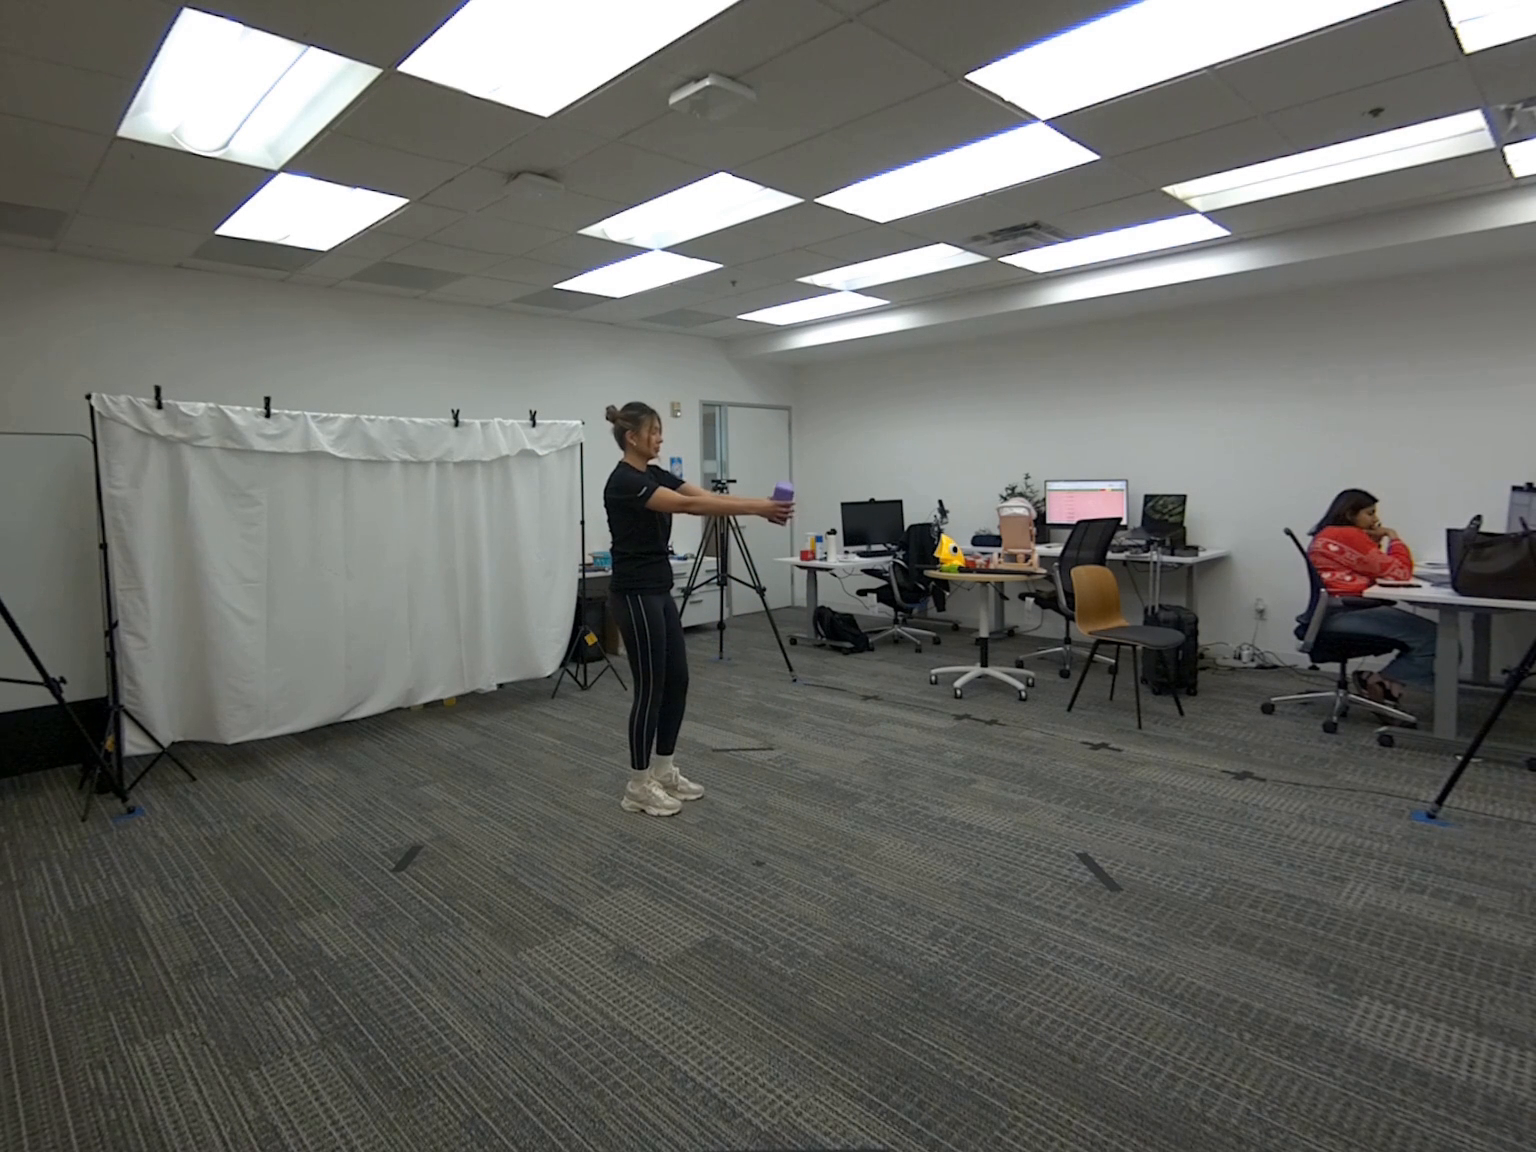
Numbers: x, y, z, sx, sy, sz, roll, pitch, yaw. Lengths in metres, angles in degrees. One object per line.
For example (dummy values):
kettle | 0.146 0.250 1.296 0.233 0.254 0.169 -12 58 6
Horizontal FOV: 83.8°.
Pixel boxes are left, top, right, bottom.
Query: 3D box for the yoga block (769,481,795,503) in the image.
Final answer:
yoga block | 0.057 -0.293 3.464 0.076 0.148 0.231 11 10 -4
